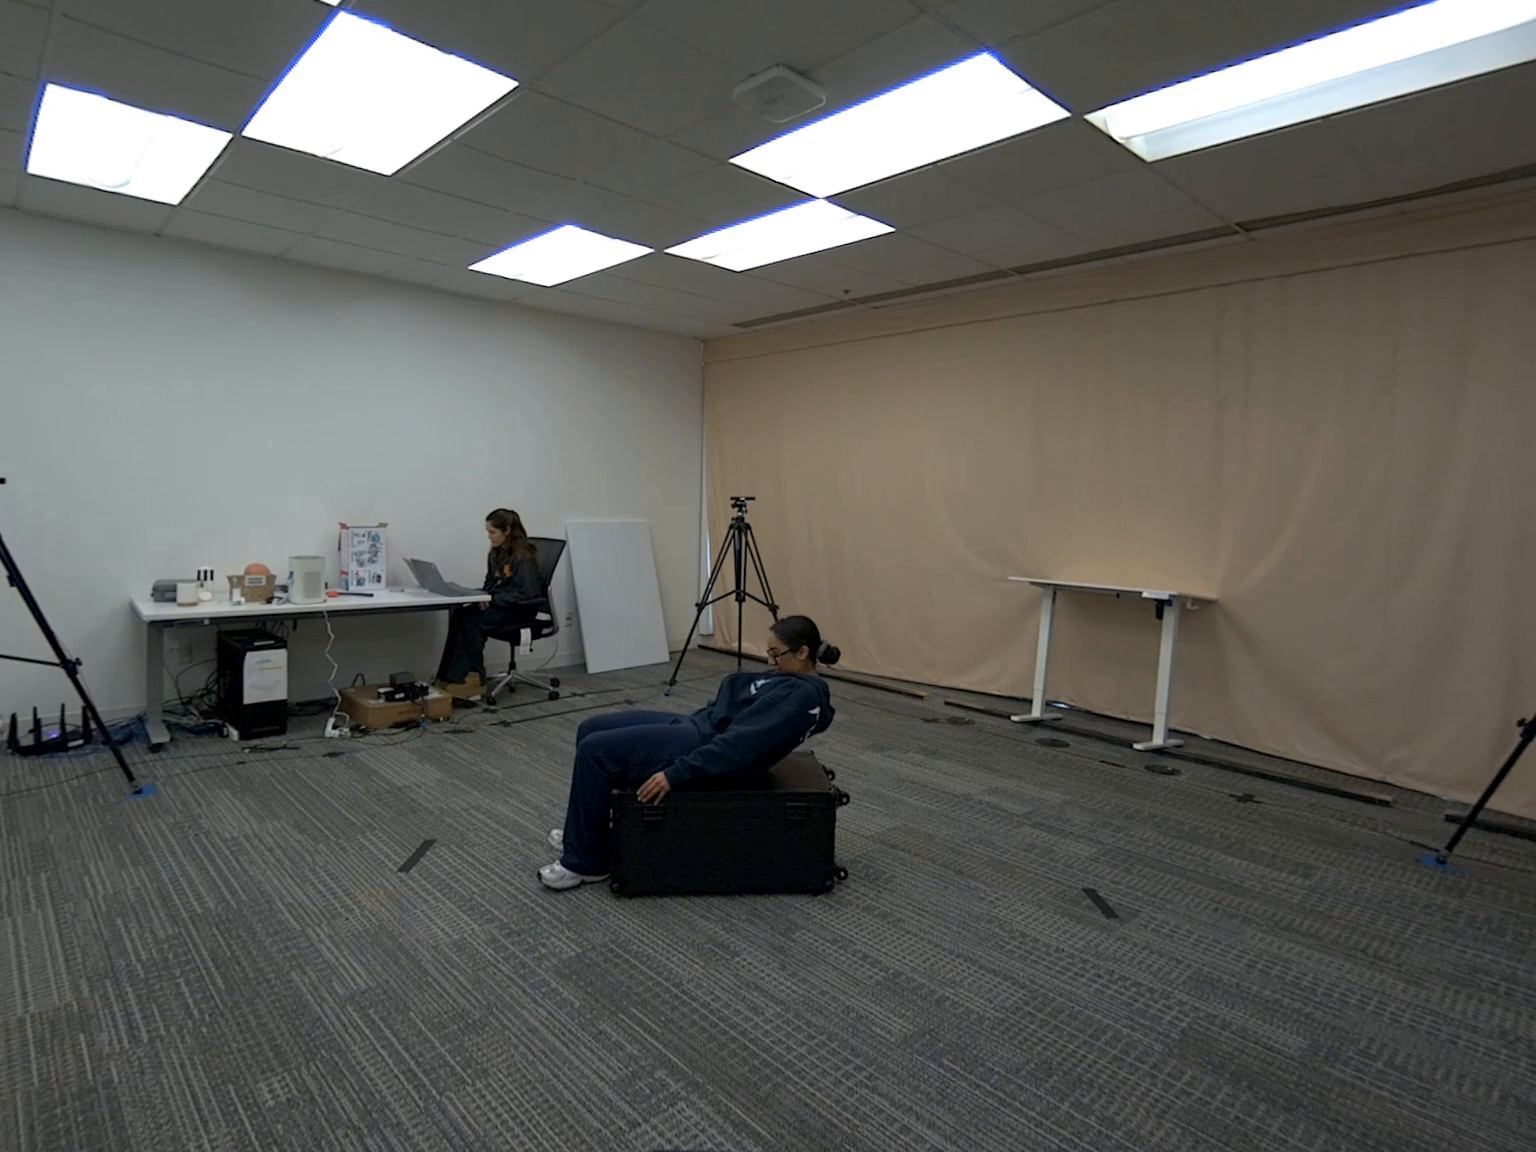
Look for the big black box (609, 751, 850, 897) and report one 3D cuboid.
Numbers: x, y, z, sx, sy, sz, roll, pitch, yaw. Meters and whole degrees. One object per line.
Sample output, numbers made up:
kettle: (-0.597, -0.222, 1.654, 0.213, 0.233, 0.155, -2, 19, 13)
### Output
big black box: (-0.144, 0.910, 3.157, 0.857, 0.395, 0.525, 1, 3, -6)
